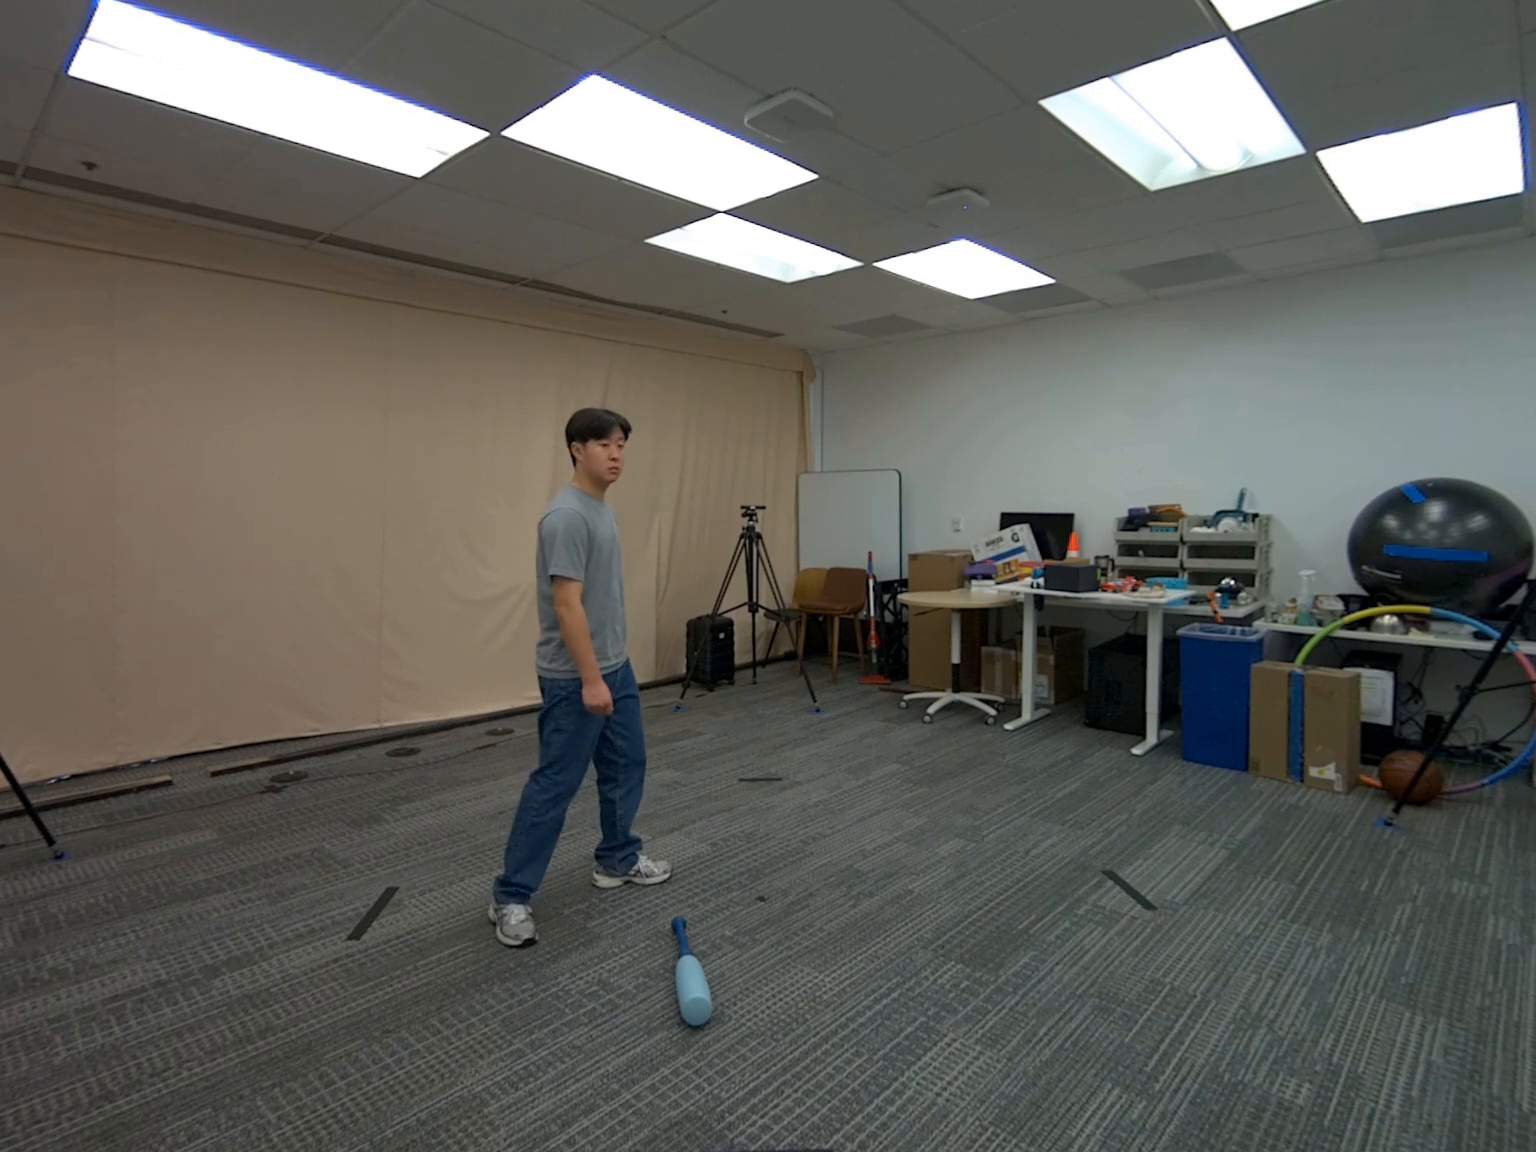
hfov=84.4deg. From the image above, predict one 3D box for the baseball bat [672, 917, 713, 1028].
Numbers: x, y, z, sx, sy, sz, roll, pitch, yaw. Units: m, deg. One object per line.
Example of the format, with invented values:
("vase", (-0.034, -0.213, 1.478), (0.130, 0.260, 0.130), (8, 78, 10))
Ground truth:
("baseball bat", (-0.234, 1.152, 2.490), (0.088, 0.089, 0.548), (0, 1, -9))
